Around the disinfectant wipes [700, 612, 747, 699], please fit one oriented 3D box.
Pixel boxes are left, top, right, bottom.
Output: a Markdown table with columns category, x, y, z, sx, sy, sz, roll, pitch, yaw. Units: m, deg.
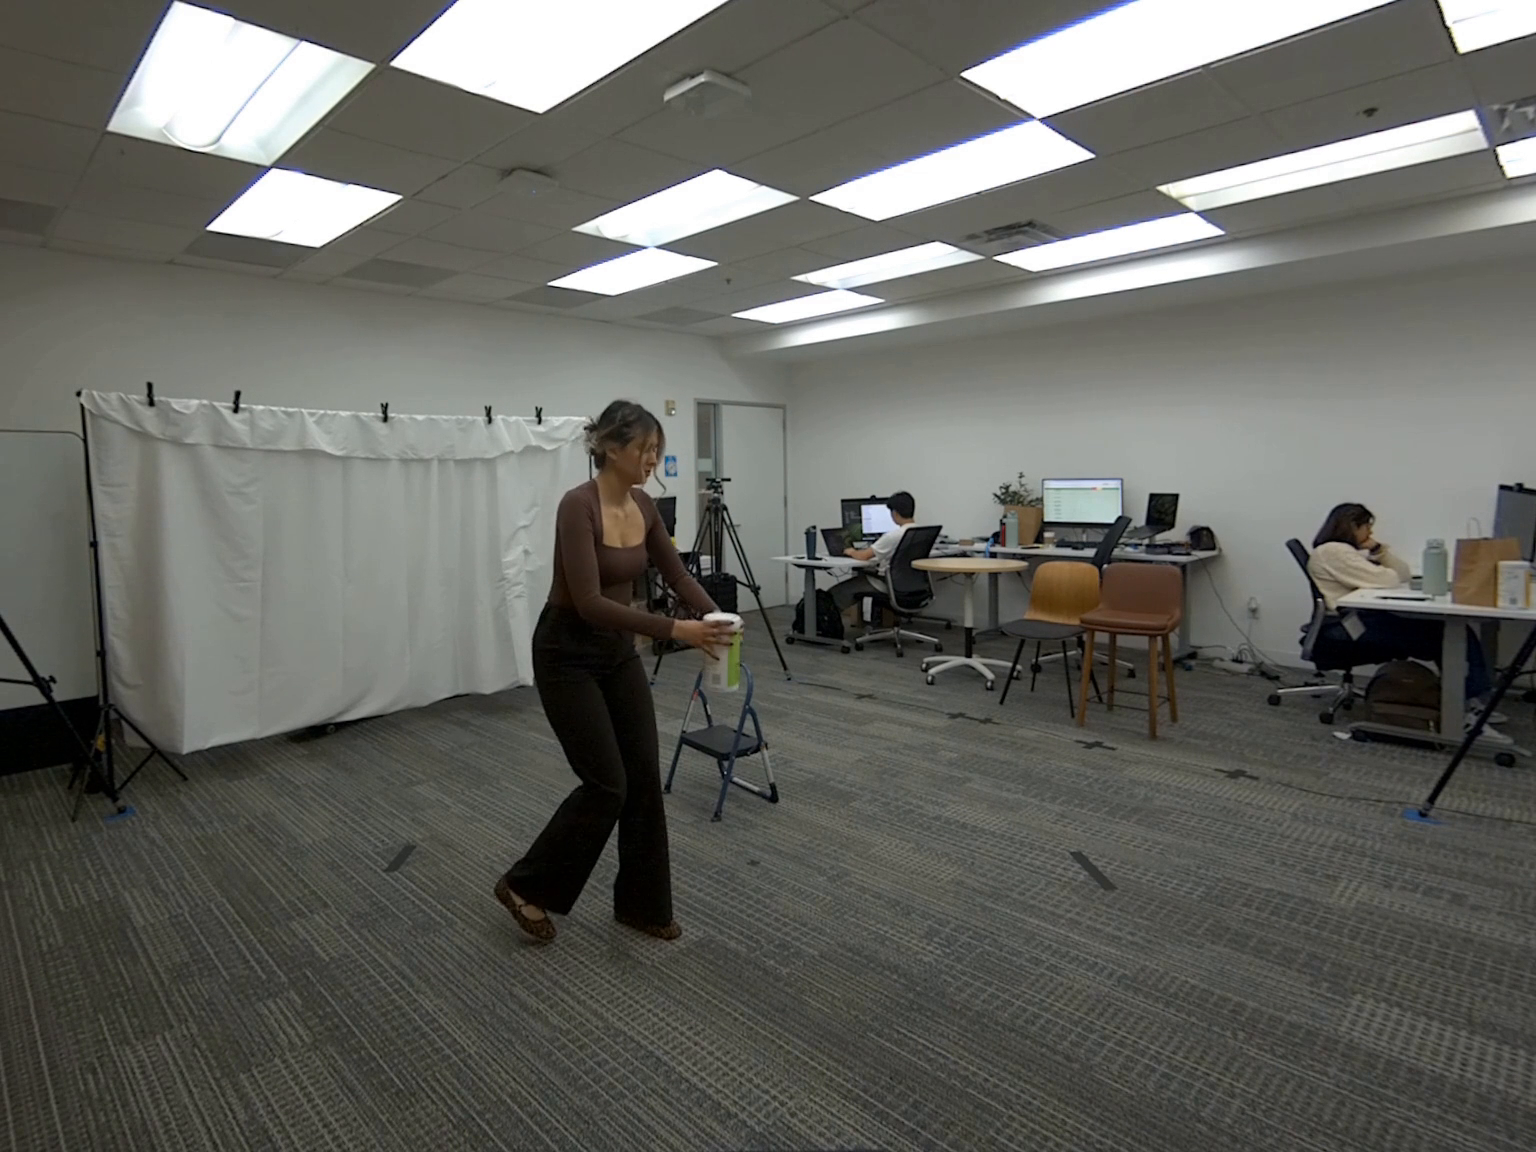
| category | x | y | z | sx | sy | sz | roll | pitch | yaw |
| --- | --- | --- | --- | --- | --- | --- | --- | --- | --- |
| disinfectant wipes | -0.129 | 0.225 | 2.471 | 0.117 | 0.216 | 0.118 | 3 | 5 | -2 |
